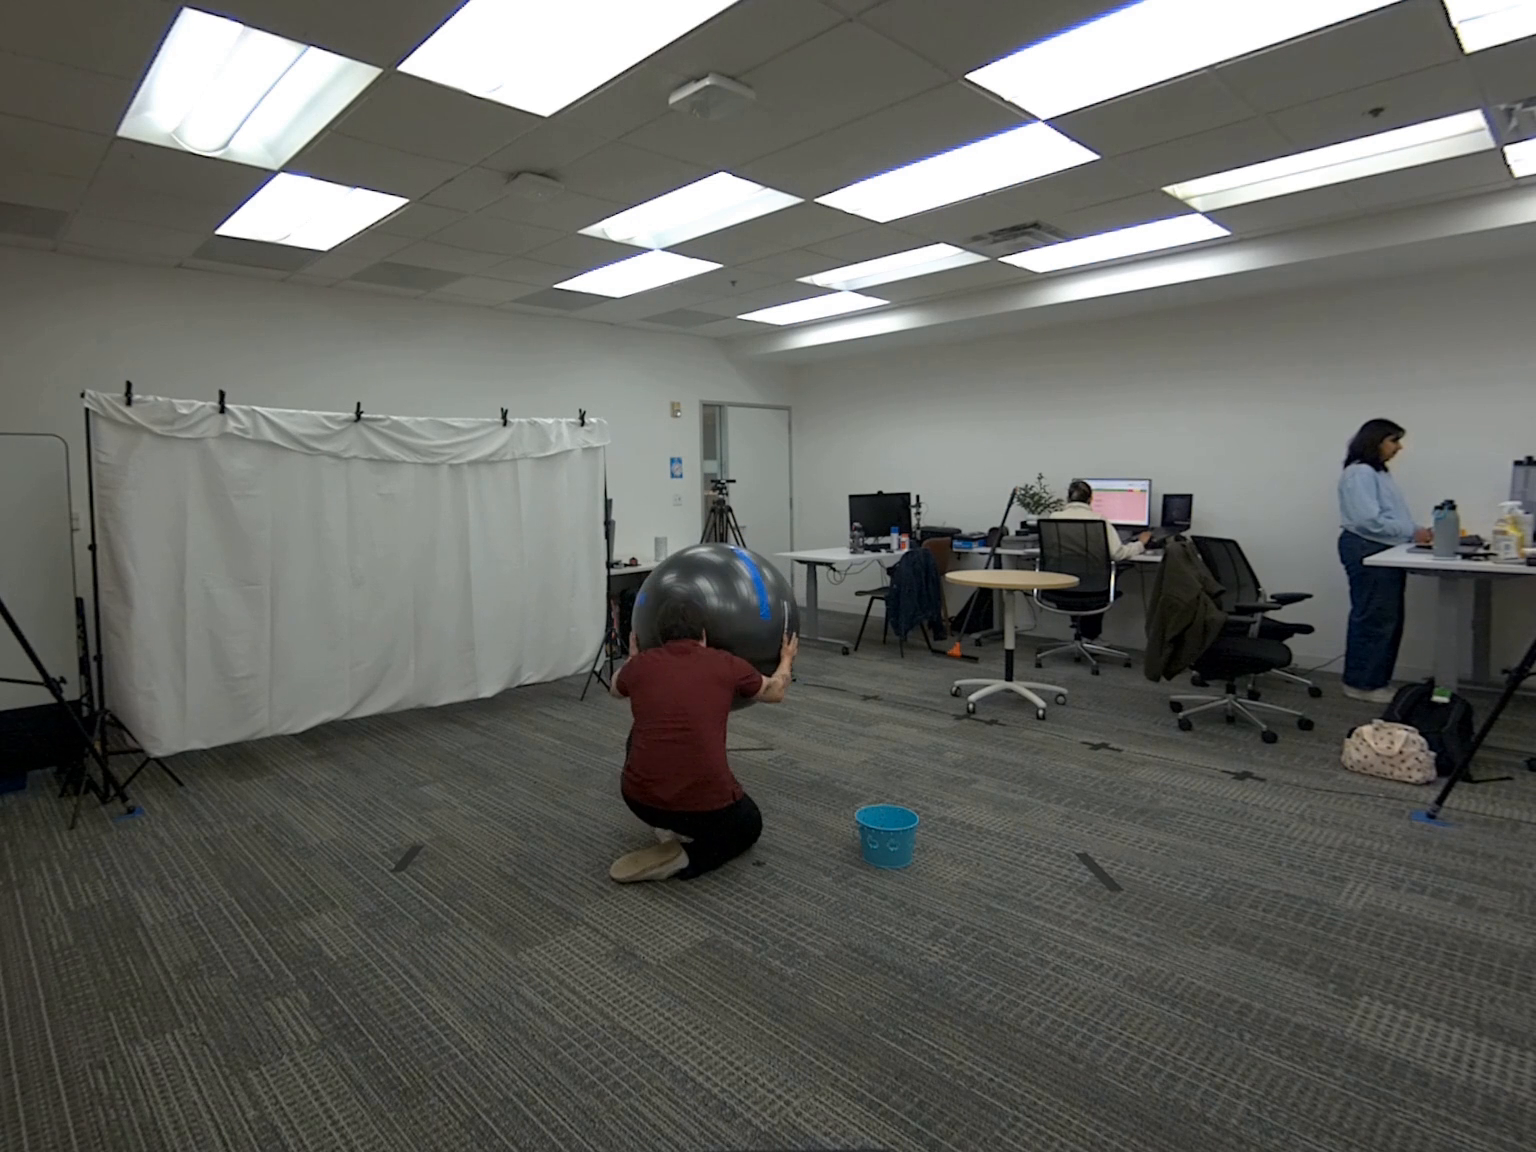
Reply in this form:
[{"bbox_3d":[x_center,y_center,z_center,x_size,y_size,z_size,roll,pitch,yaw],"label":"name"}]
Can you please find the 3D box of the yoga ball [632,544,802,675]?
[{"bbox_3d":[-0.236,0.236,3.849,0.757,0.755,0.762,-1,5,-2],"label":"yoga ball"}]
